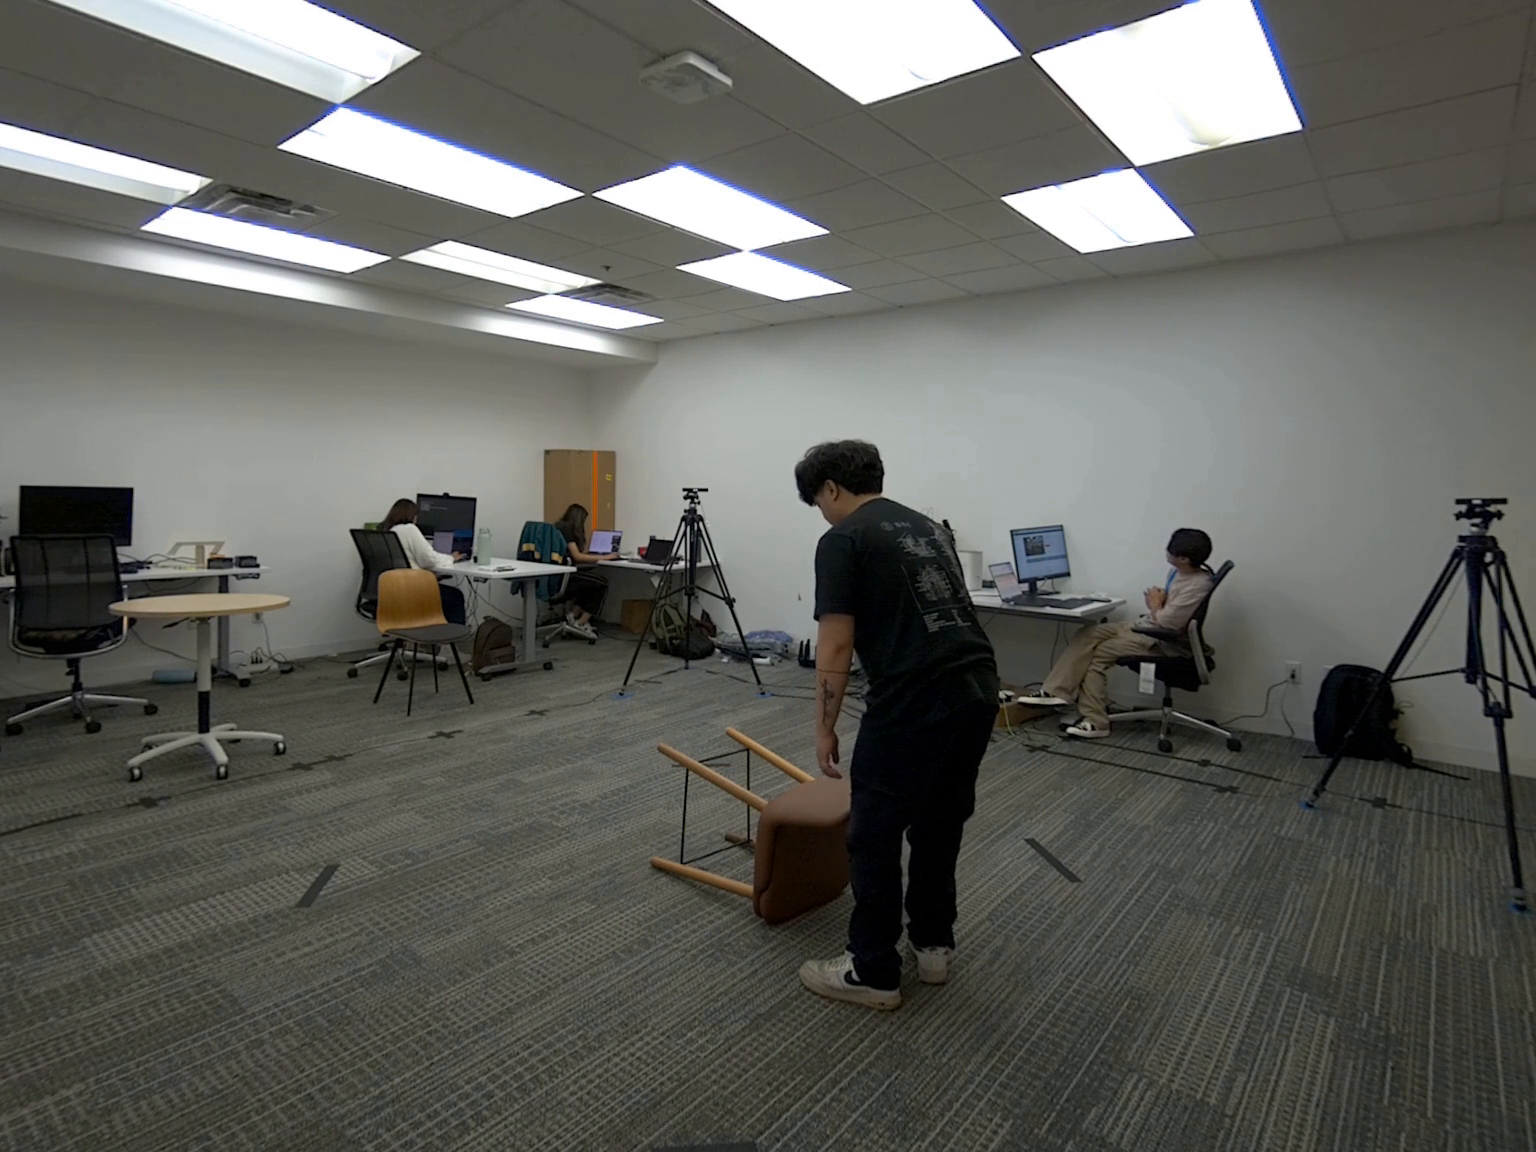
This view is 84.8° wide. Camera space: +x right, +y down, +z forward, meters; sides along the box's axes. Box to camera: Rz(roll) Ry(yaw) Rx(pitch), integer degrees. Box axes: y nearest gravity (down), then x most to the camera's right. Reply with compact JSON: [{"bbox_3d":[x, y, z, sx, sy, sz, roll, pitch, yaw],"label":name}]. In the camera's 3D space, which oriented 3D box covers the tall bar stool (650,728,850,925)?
[{"bbox_3d":[0.018,0.863,2.930,0.920,0.466,0.442,5,5,45],"label":"tall bar stool"}]
